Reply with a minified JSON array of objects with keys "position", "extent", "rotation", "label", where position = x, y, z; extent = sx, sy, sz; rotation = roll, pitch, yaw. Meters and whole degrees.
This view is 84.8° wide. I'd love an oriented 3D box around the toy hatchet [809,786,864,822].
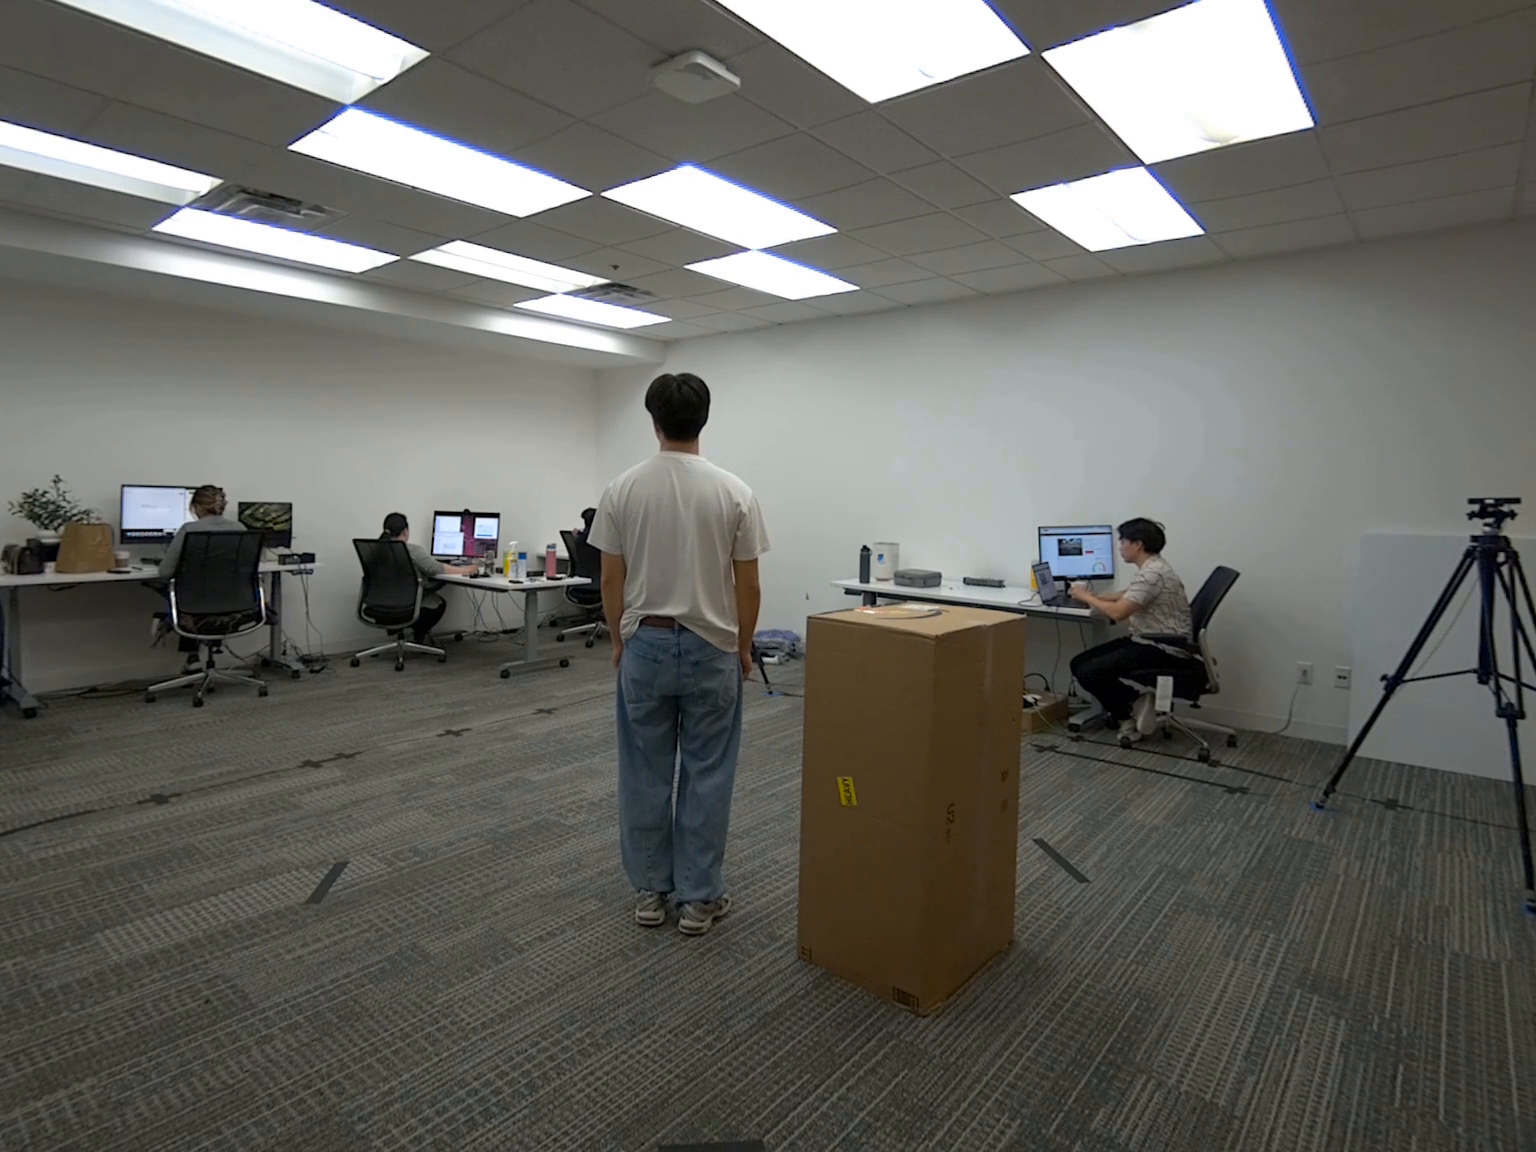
[{"position":[0.301,0.996,3.696],"extent":[0.135,0.029,0.263],"rotation":[7,10,31],"label":"toy hatchet"}]
